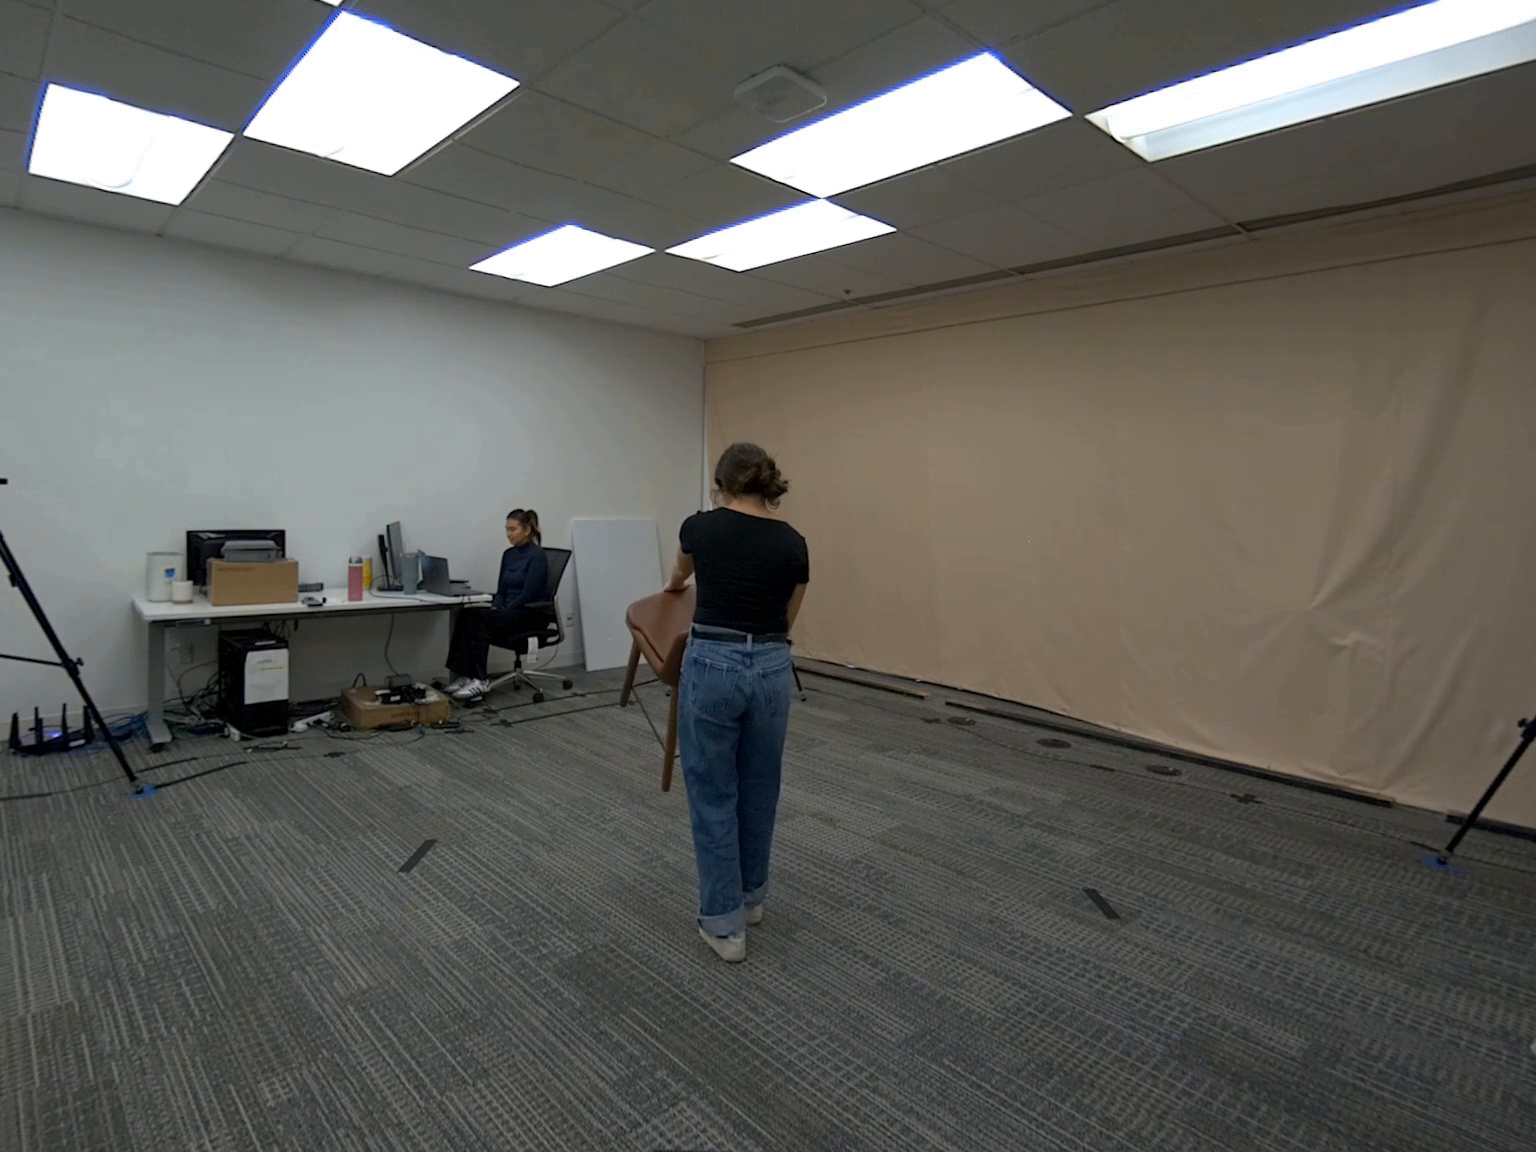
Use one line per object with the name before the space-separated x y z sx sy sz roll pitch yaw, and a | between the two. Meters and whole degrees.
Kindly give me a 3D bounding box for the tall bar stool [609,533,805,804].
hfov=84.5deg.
tall bar stool | -0.263 0.321 3.069 0.450 0.875 0.482 -12 48 -24
